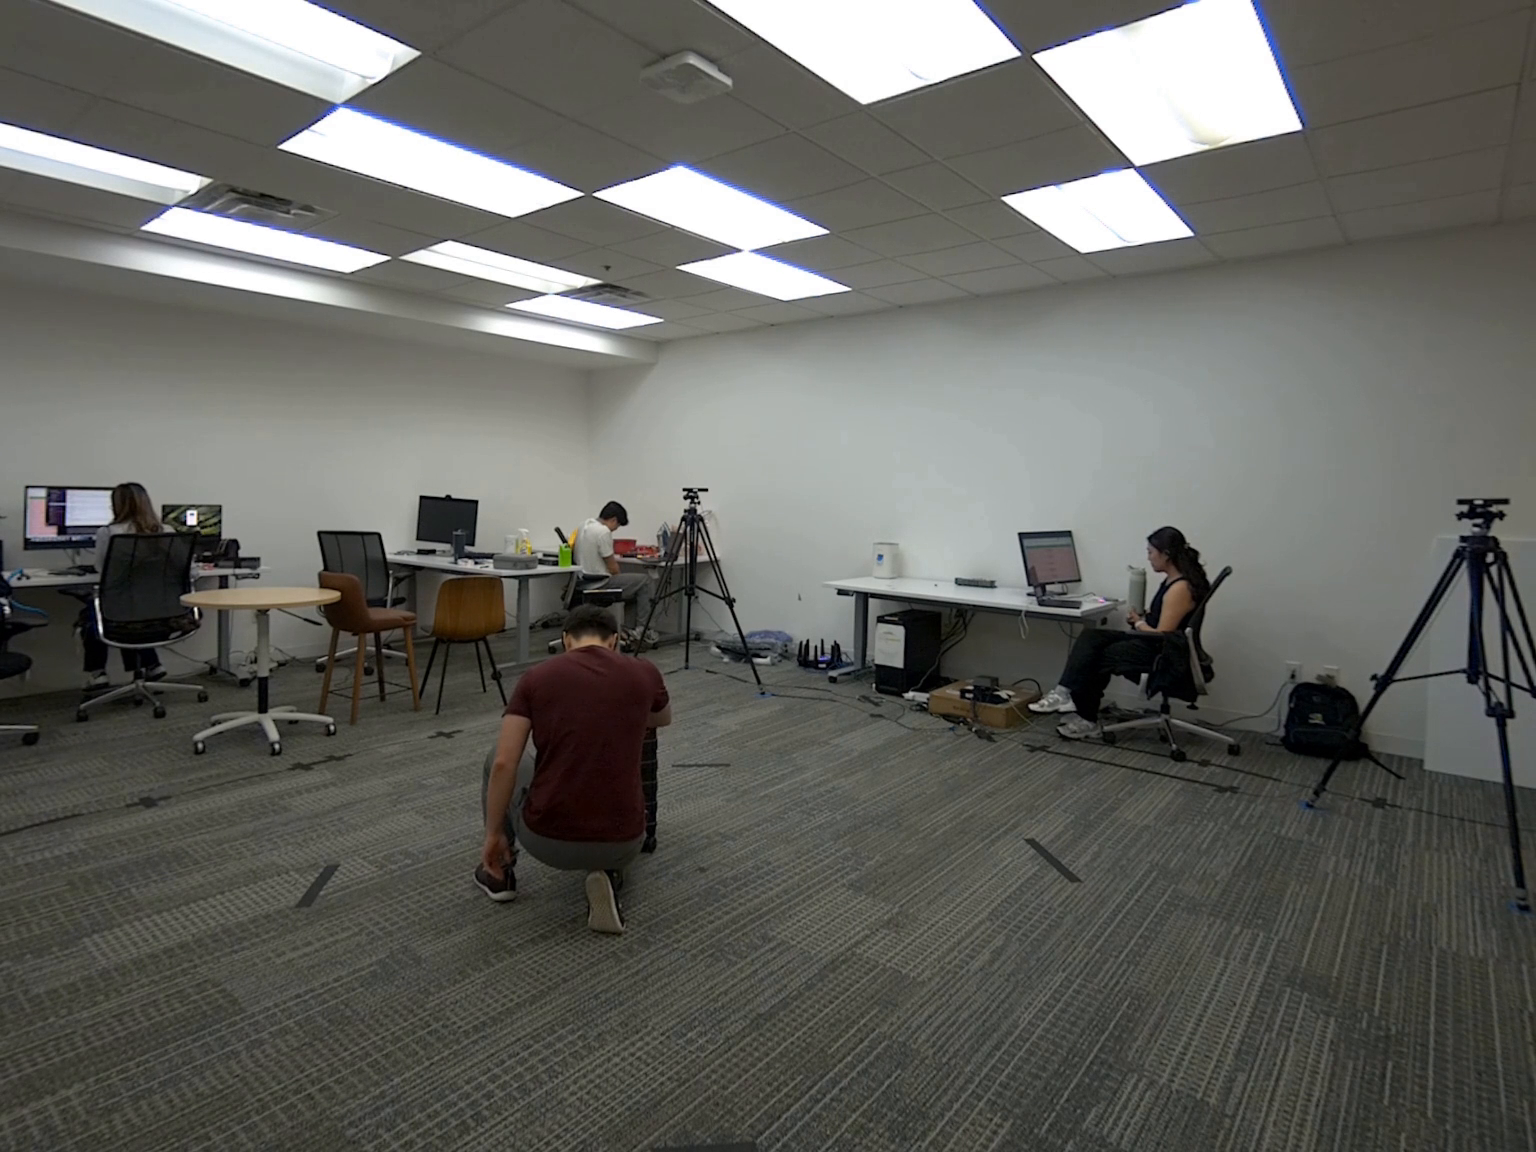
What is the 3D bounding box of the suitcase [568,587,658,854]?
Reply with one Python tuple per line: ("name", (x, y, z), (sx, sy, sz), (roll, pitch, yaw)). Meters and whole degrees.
("suitcase", (-0.622, 0.563, 3.297), (0.376, 0.975, 0.263), (-1, 4, -22))
